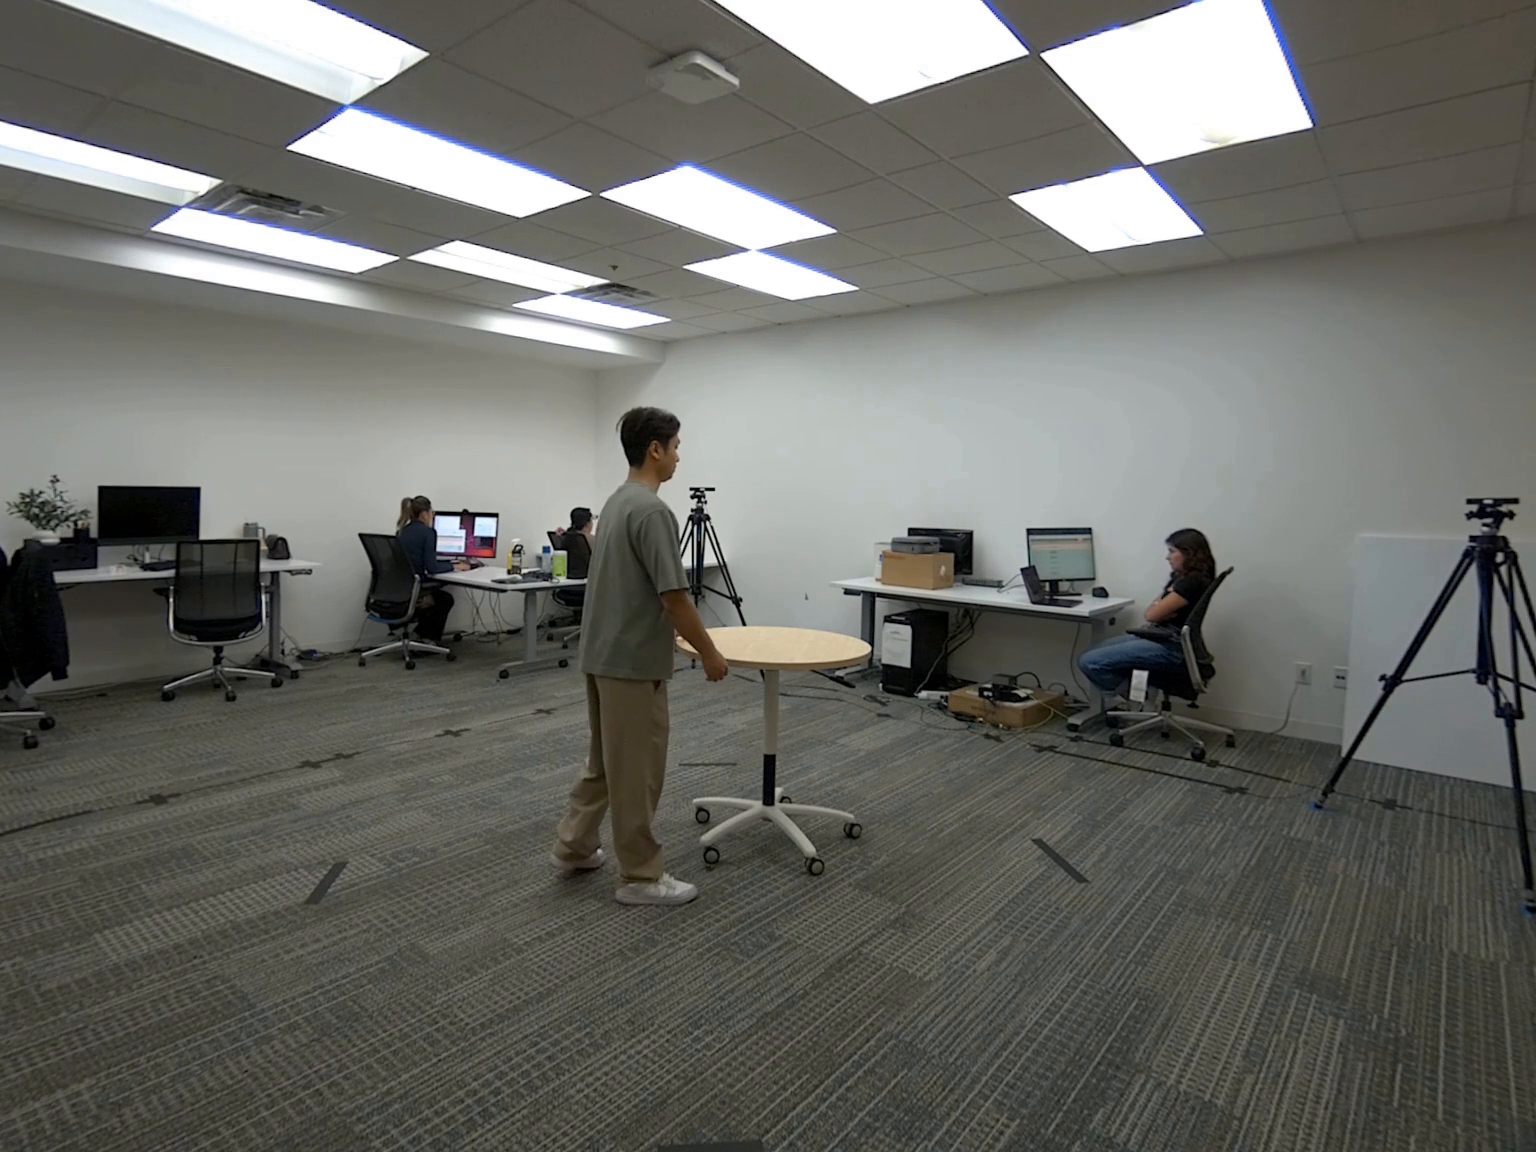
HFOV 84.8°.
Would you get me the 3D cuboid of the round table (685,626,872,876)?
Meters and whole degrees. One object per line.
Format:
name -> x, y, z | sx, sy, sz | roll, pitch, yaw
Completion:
round table -> -0.010, 0.647, 3.382 | 0.784, 0.784, 0.789 | 1, 4, -2
